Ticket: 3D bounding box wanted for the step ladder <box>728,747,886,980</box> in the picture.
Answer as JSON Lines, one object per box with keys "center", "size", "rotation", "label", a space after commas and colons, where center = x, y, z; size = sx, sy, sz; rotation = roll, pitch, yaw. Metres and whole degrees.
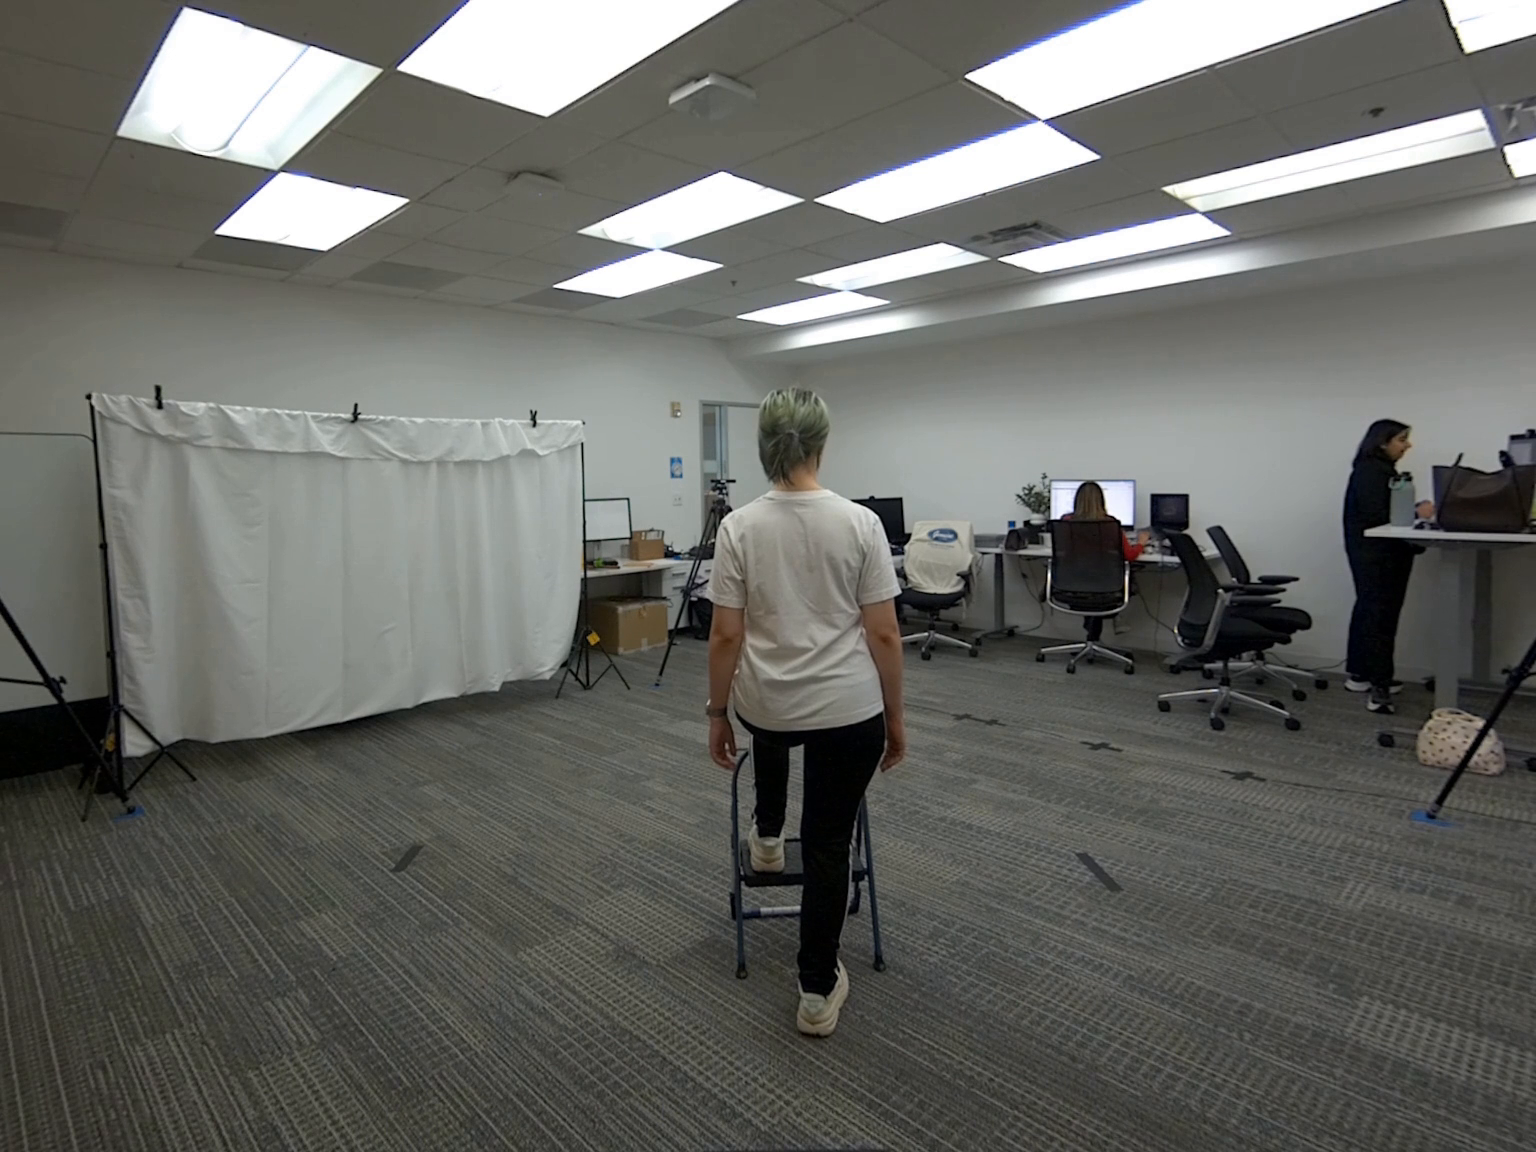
{"center": [0.106, 0.811, 2.565], "size": [0.429, 0.604, 0.352], "rotation": [-1, 4, -5], "label": "step ladder"}
